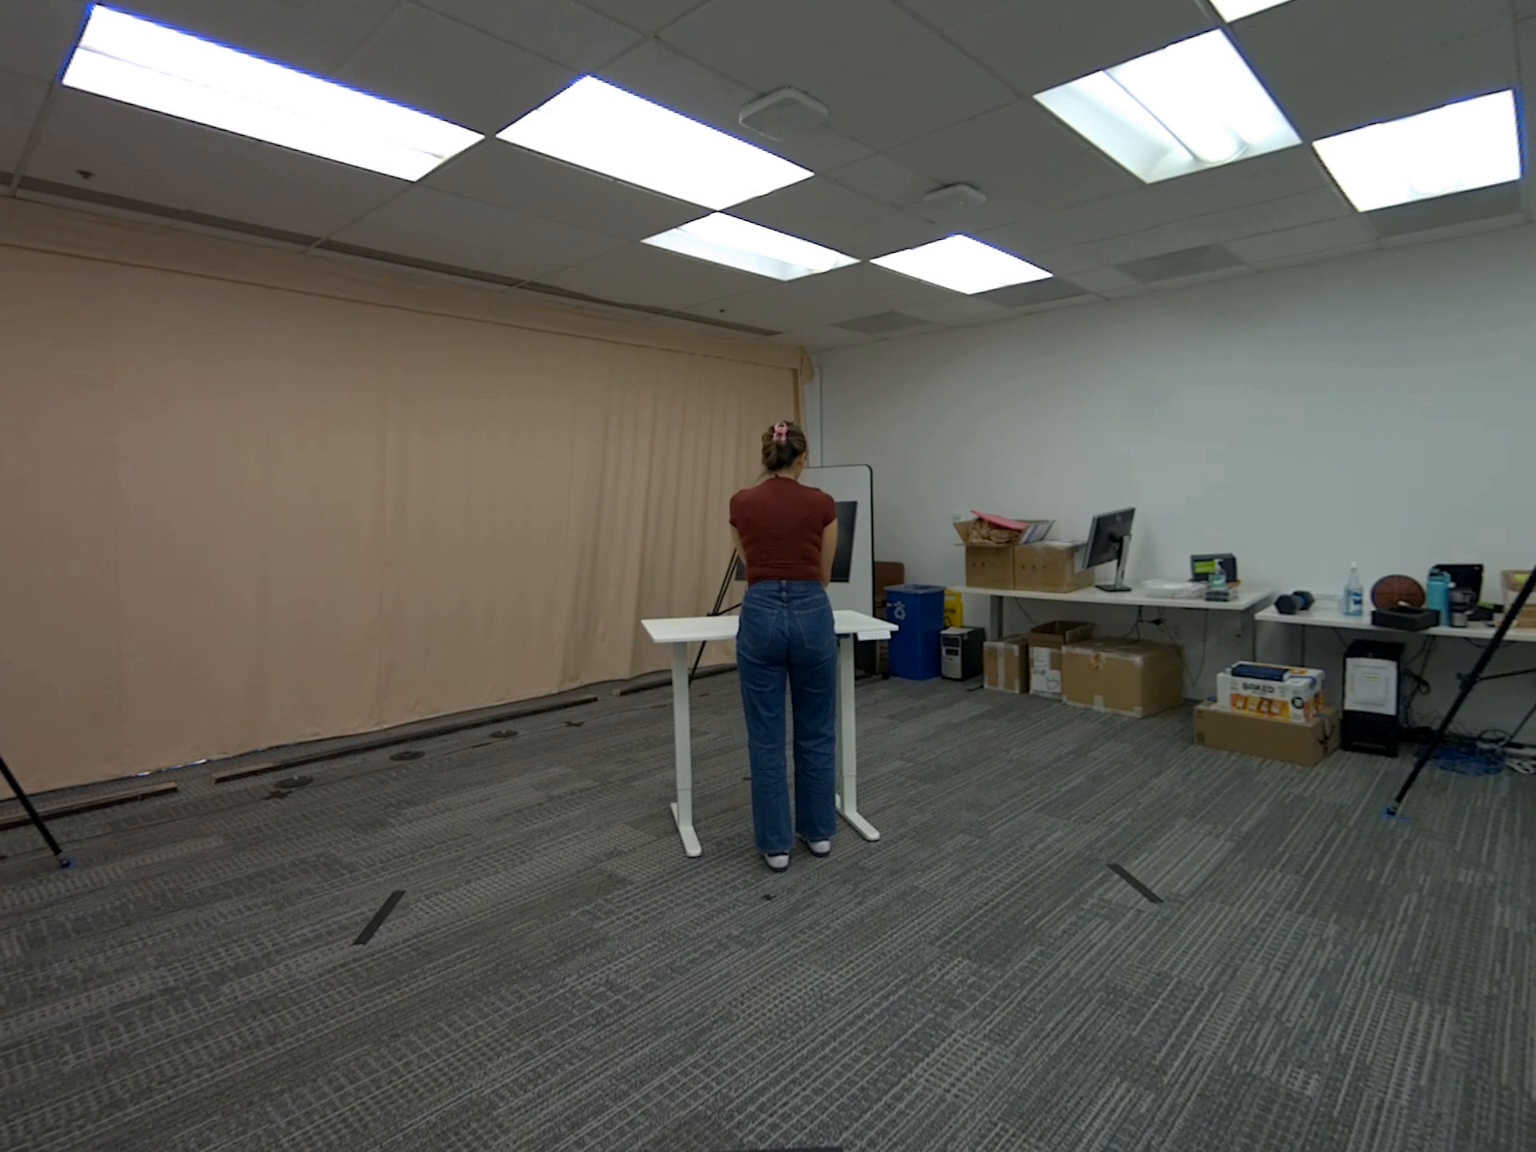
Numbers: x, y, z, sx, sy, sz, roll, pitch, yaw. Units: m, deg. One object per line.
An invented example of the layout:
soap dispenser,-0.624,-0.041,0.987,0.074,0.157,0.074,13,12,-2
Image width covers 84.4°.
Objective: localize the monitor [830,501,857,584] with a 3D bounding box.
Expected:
monitor,0.145,-0.057,3.645,0.554,0.522,0.182,1,0,28
